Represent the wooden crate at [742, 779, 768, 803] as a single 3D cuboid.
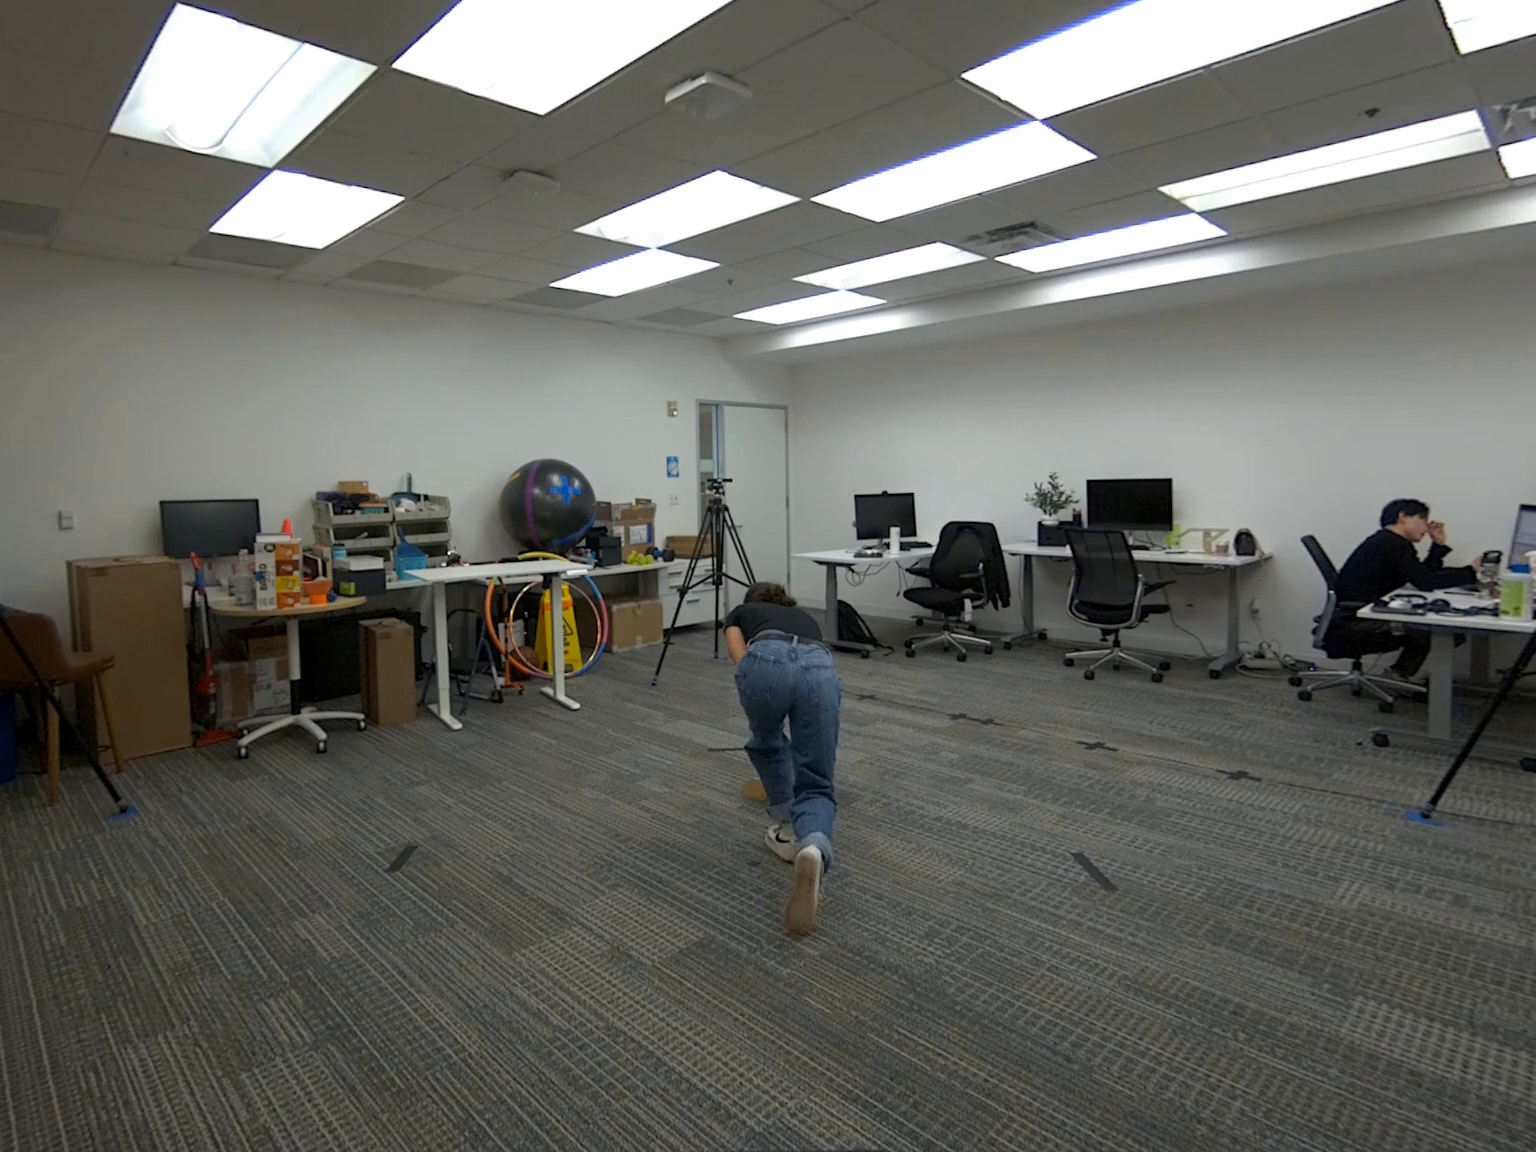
[{"bbox_3d":[0.099,0.838,3.796,0.311,0.272,0.317,3,6,34],"label":"wooden crate"}]
